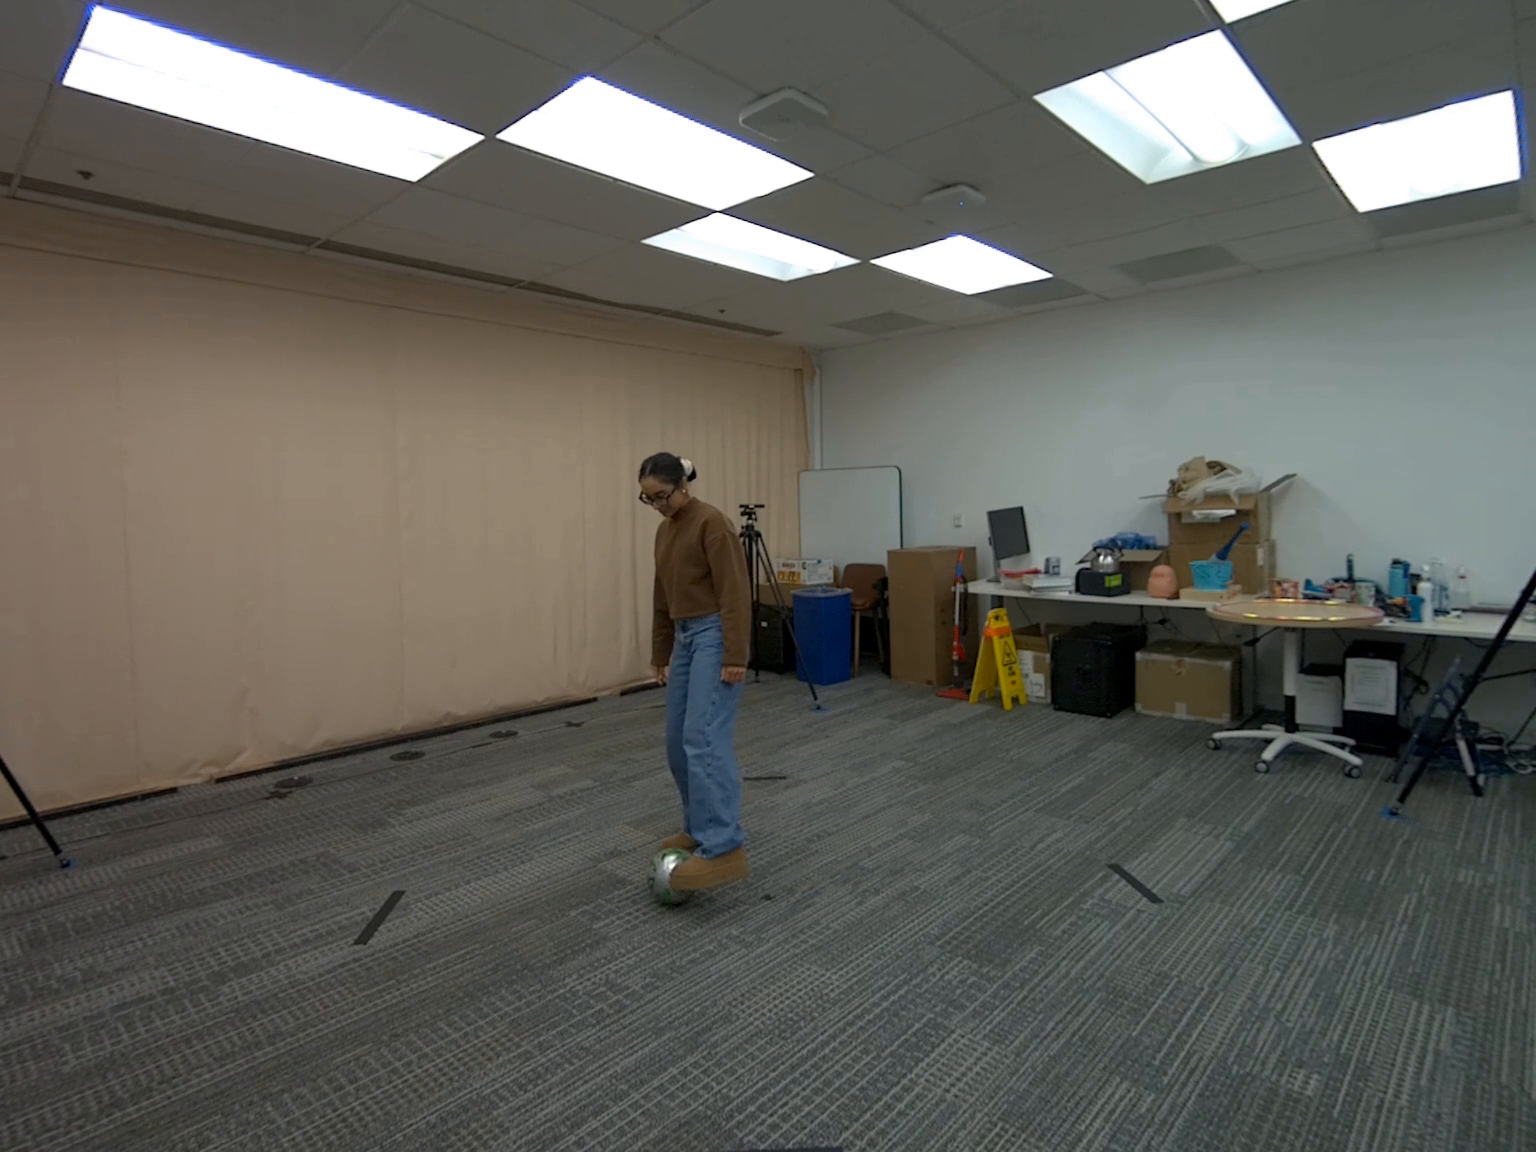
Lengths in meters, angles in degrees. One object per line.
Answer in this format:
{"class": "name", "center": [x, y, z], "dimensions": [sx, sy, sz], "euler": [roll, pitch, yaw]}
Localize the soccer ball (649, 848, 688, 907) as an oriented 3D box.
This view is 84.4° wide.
{"class": "soccer ball", "center": [-0.336, 1.054, 2.970], "dimensions": [0.187, 0.187, 0.188], "euler": [-1, 4, -2]}
